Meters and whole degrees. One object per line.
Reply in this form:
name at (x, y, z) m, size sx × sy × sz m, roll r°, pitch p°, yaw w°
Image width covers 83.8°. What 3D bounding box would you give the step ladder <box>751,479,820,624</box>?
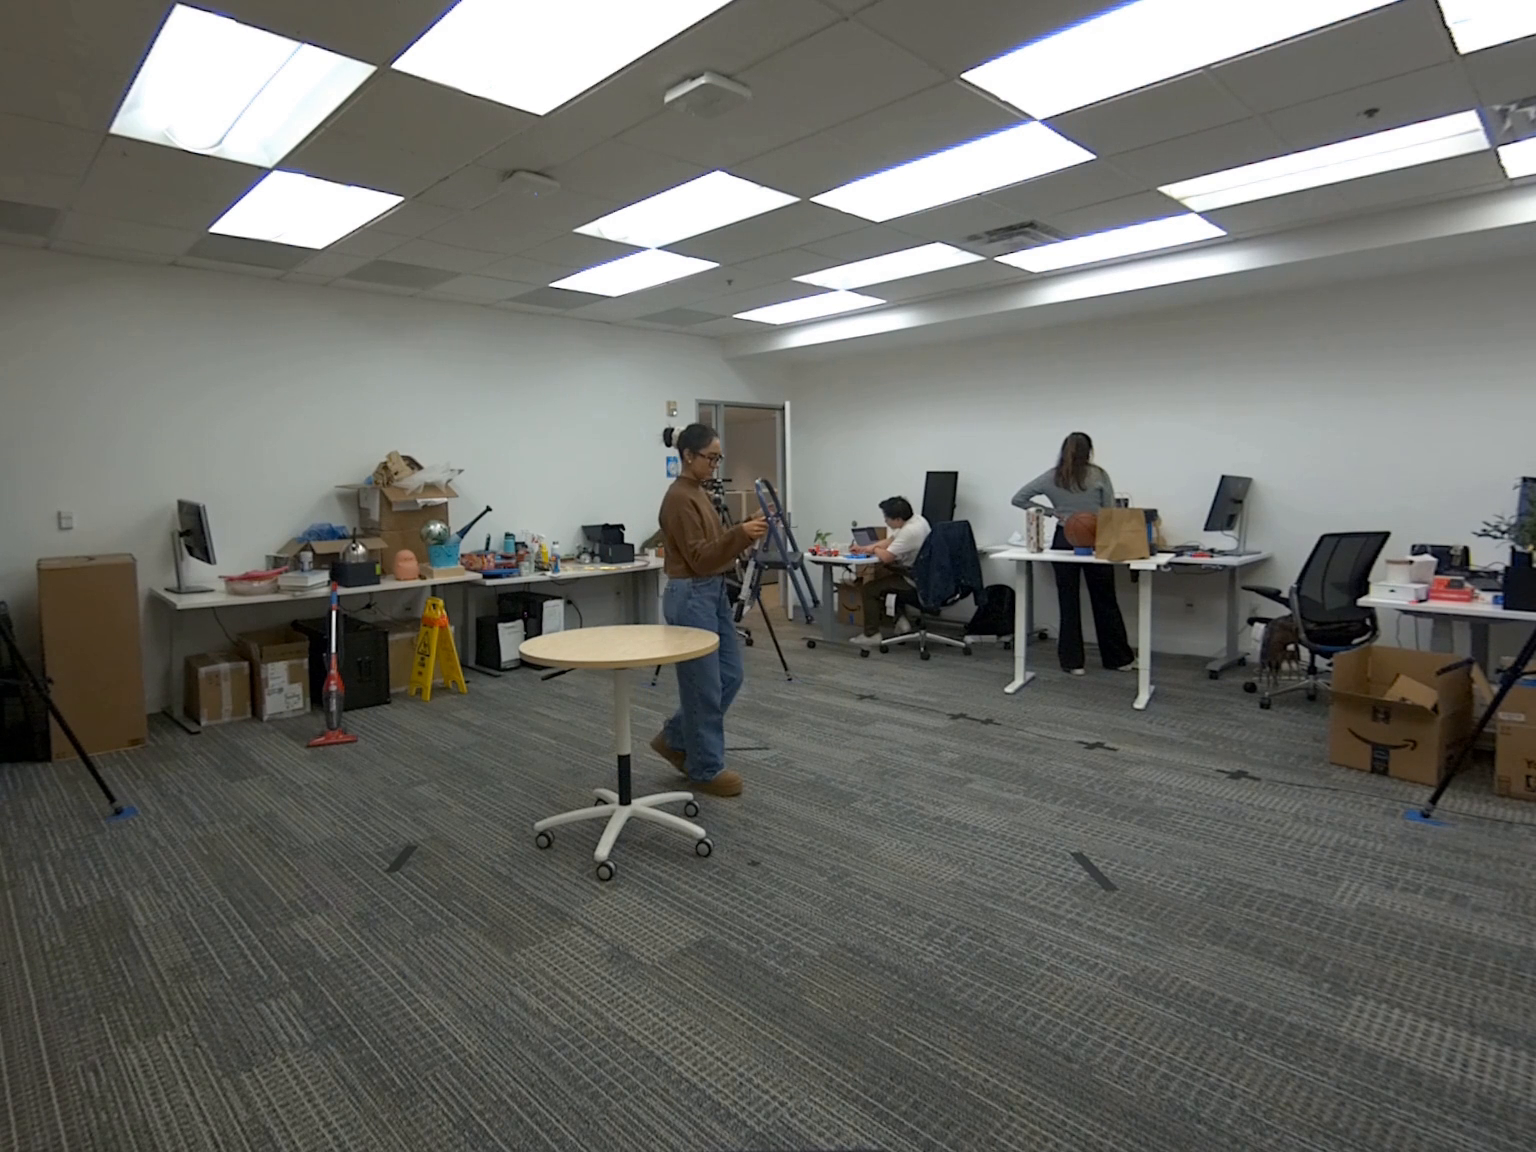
step ladder at (0.037, -0.125, 3.756) m, size 0.352 × 0.603 × 0.429 m, roll 0°, pitch 6°, yaw 8°
